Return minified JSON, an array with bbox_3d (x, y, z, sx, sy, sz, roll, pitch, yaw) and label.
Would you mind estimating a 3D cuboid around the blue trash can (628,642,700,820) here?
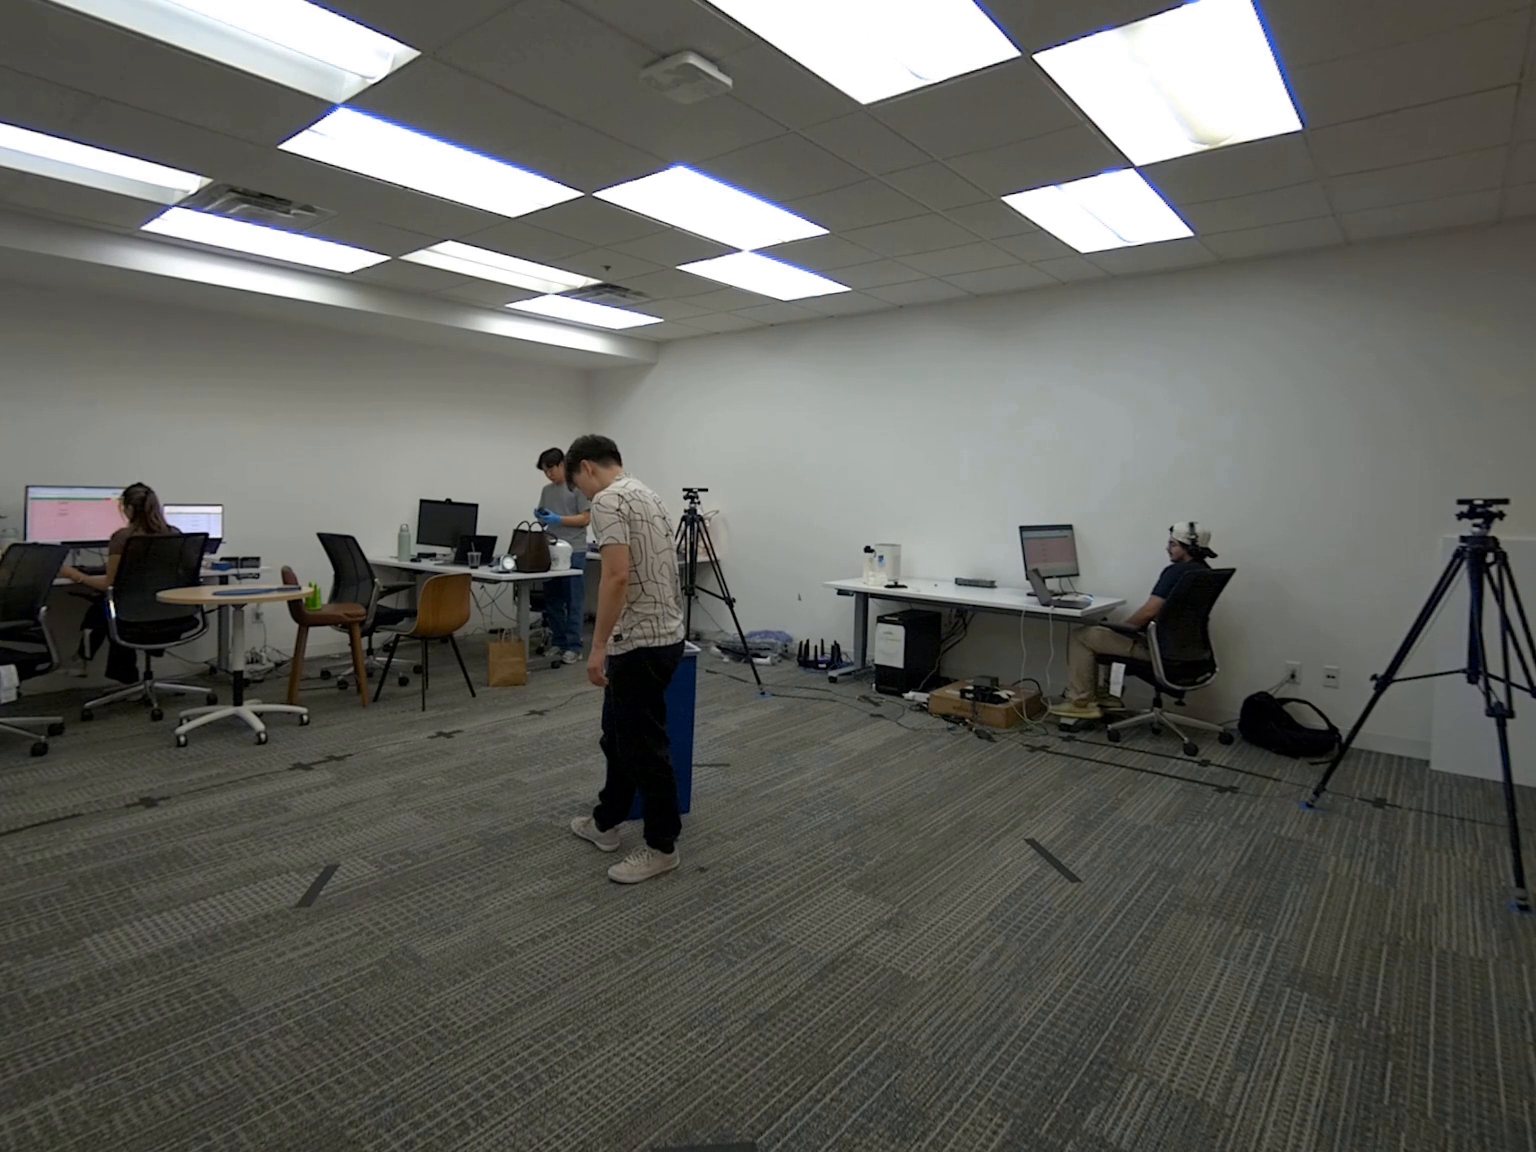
[{"bbox_3d":[-0.524,0.648,3.714,0.370,0.712,0.383,-1,3,-22],"label":"blue trash can"}]
